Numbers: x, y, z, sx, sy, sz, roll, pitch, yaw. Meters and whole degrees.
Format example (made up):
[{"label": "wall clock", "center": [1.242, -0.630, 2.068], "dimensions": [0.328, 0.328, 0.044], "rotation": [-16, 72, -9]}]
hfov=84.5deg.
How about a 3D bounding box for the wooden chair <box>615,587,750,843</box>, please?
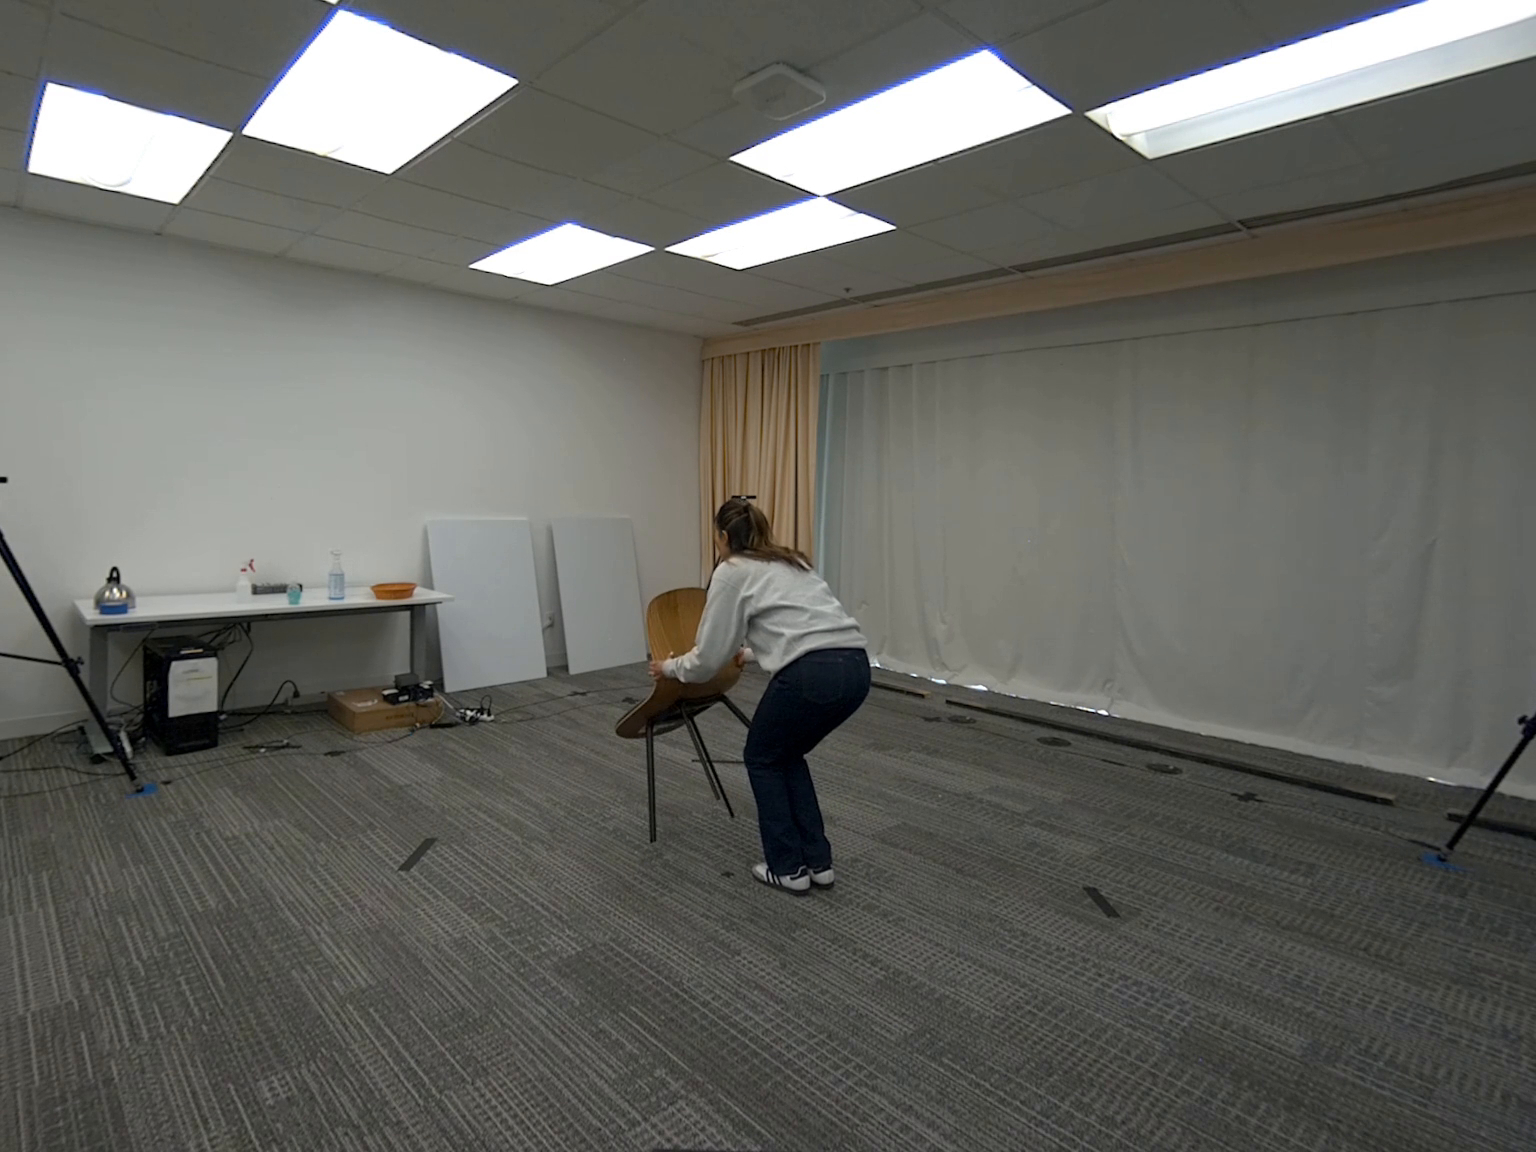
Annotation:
[{"label": "wooden chair", "center": [-0.343, 0.551, 3.441], "dimensions": [0.467, 0.893, 0.526], "rotation": [-2, -27, -46]}]
